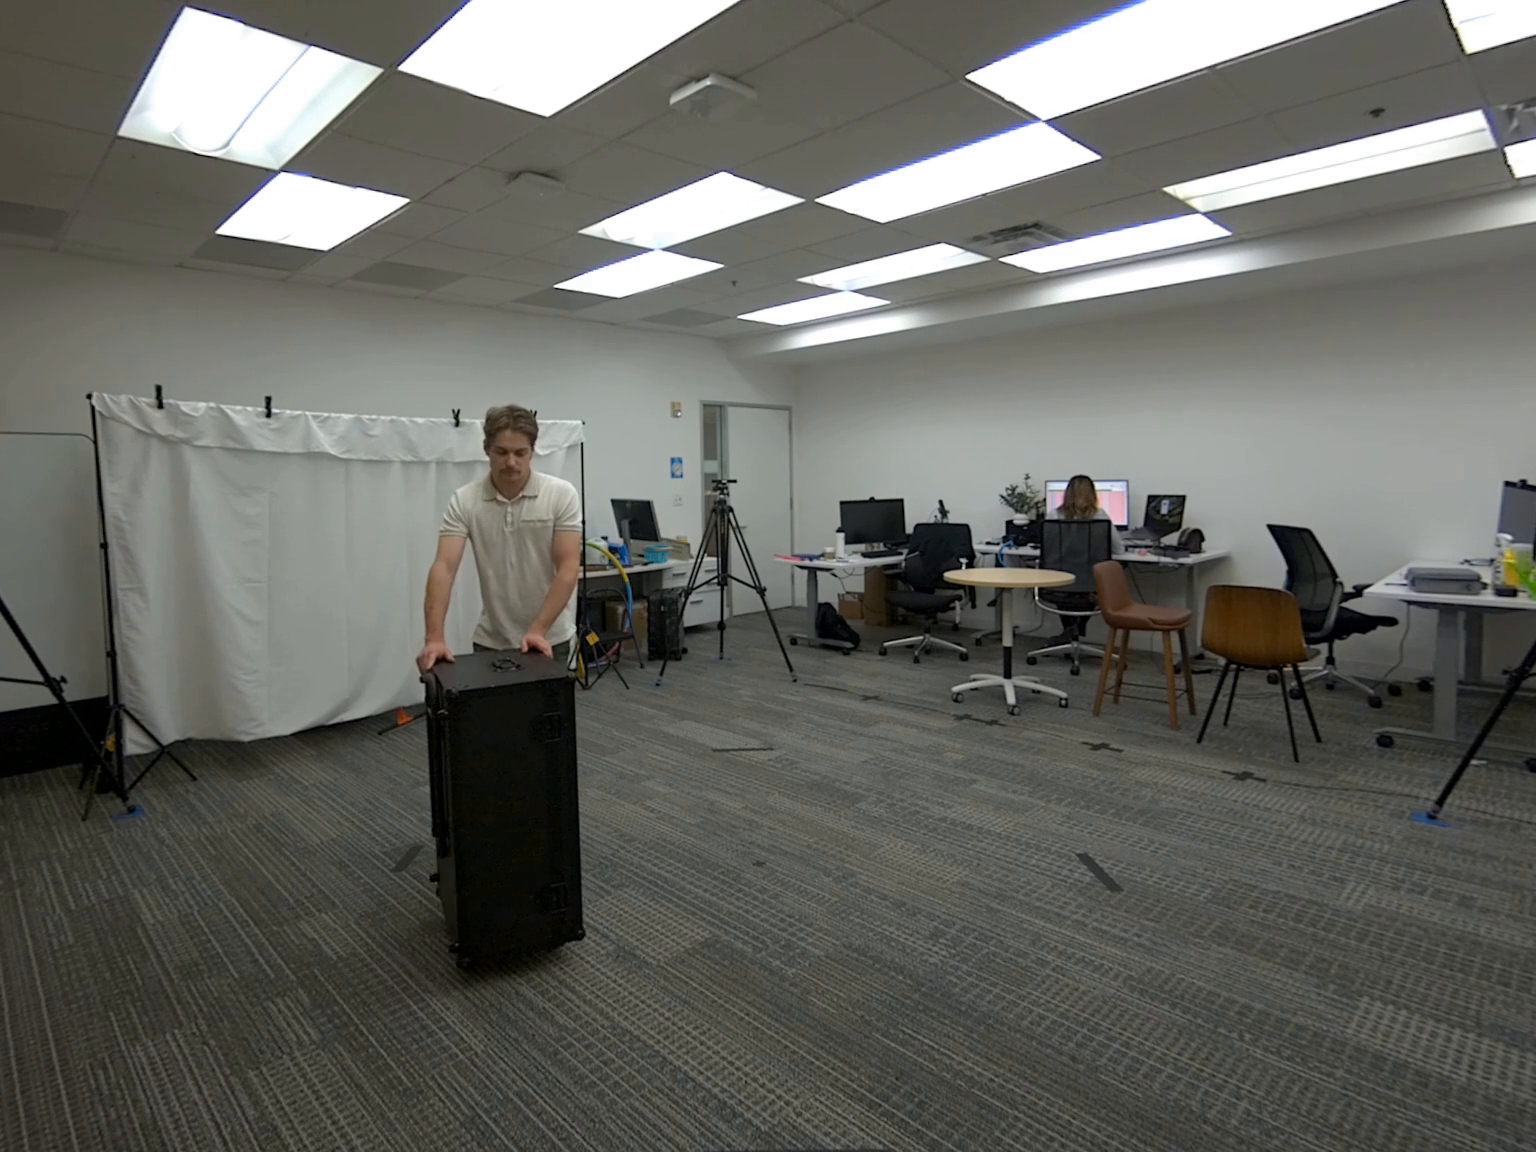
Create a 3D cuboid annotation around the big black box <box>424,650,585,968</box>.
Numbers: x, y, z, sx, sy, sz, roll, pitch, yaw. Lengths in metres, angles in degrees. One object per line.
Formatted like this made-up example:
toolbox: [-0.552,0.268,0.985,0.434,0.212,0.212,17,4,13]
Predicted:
big black box: [-0.805,0.700,2.597,0.376,0.866,0.537,-3,4,-28]
